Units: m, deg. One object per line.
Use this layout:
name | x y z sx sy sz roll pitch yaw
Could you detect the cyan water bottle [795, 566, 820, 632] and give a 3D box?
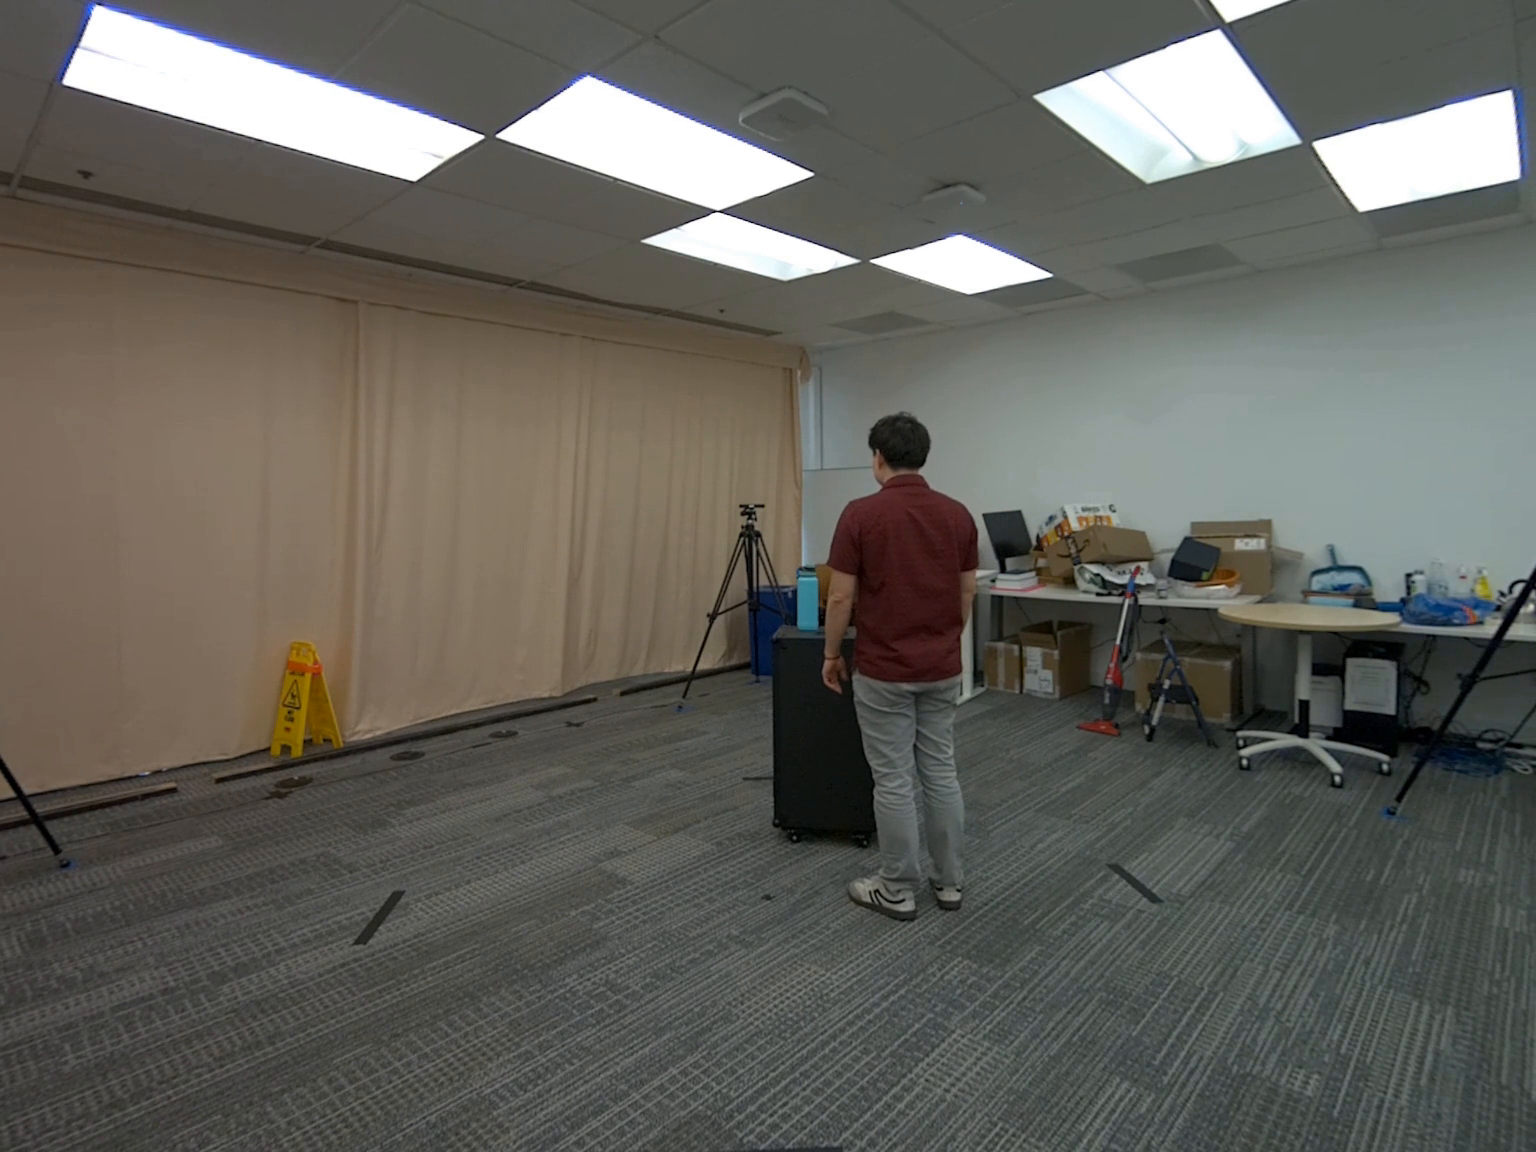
cyan water bottle | 0.177 0.090 3.665 0.092 0.283 0.092 -1 1 -2
